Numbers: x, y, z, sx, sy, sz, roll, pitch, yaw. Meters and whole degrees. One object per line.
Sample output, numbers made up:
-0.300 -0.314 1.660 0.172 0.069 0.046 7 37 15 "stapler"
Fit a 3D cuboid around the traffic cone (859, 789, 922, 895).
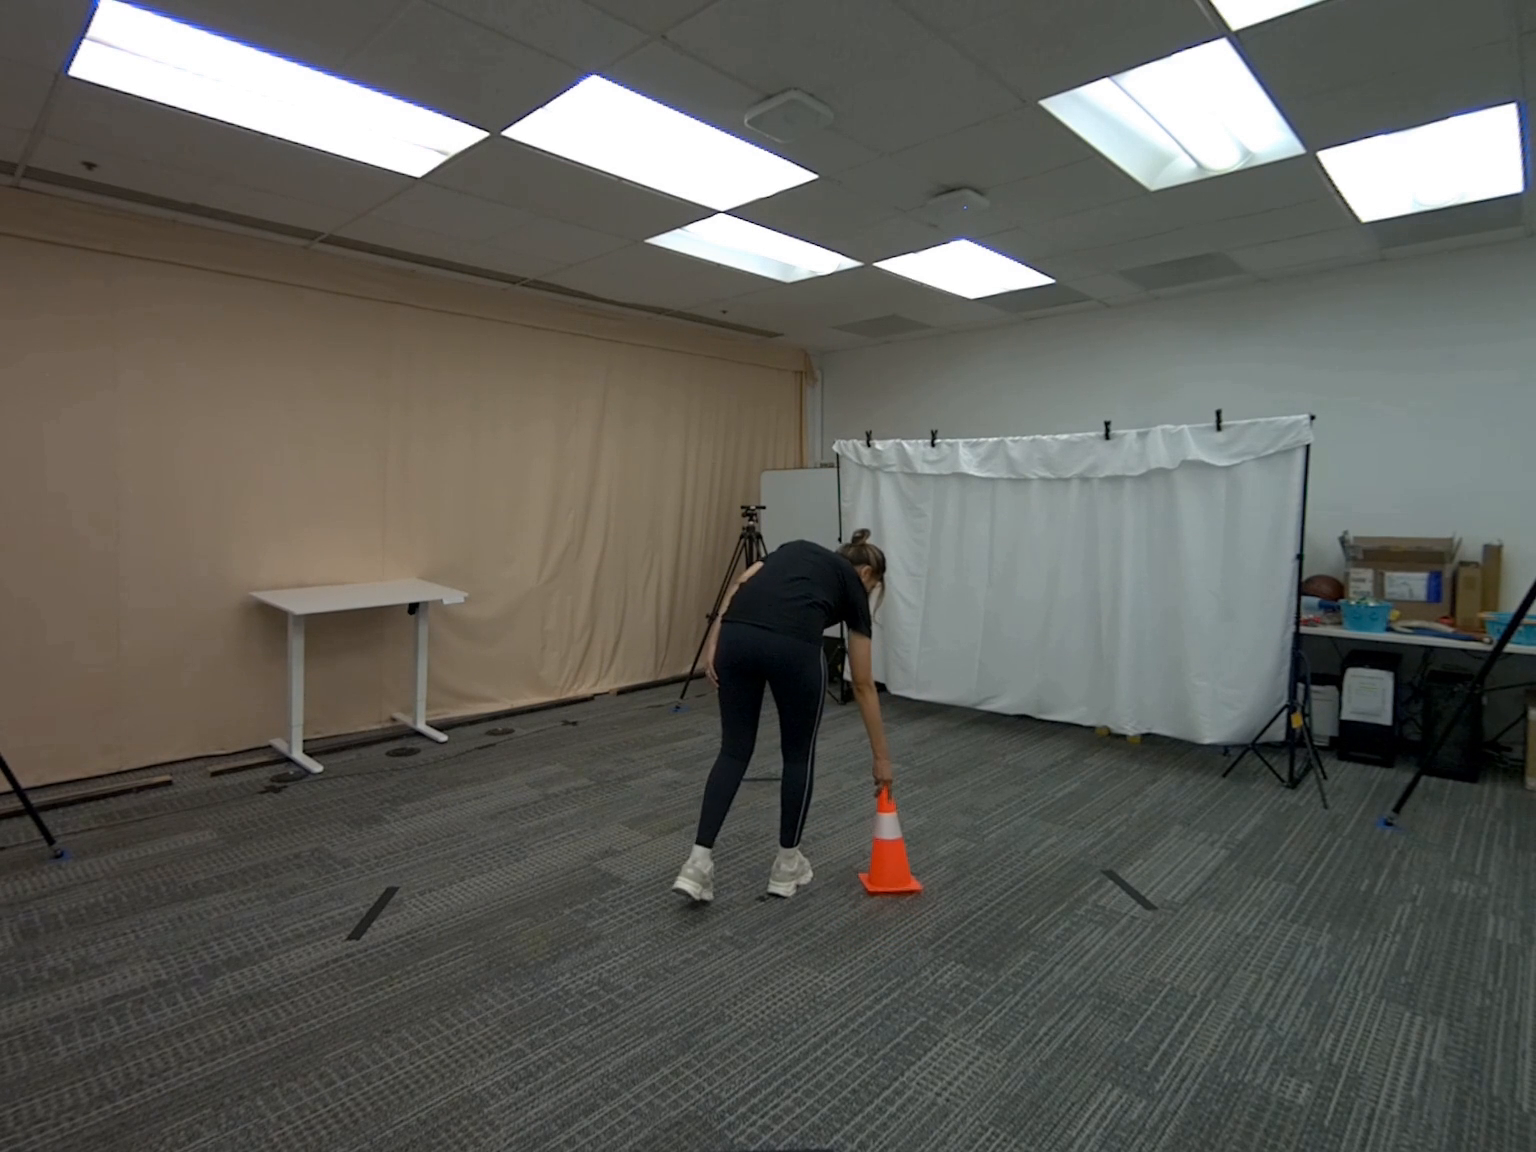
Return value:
0.442 0.937 3.111 0.202 0.385 0.205 0 -5 -5 "traffic cone"
